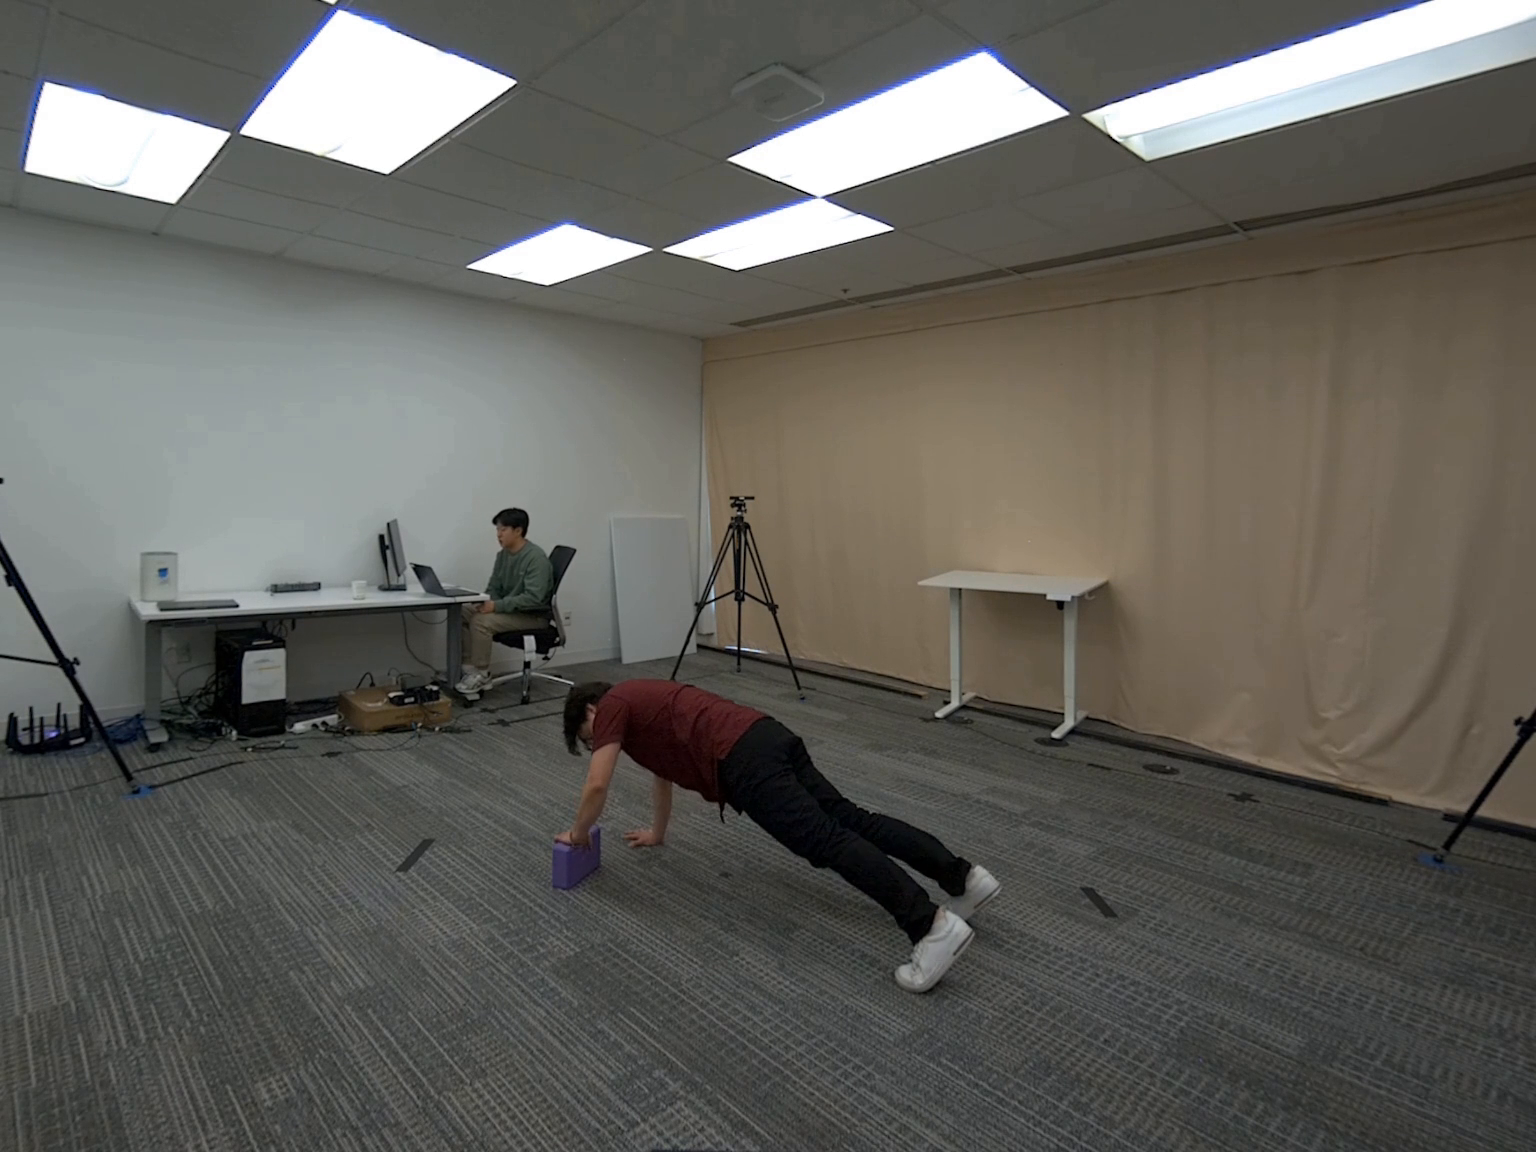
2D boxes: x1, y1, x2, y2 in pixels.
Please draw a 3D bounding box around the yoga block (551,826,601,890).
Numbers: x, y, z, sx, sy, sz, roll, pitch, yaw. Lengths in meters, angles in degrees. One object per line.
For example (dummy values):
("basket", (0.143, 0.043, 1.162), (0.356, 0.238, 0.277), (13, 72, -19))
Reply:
("yoga block", (-0.692, 1.013, 3.064), (0.077, 0.148, 0.226), (2, 5, 18))
